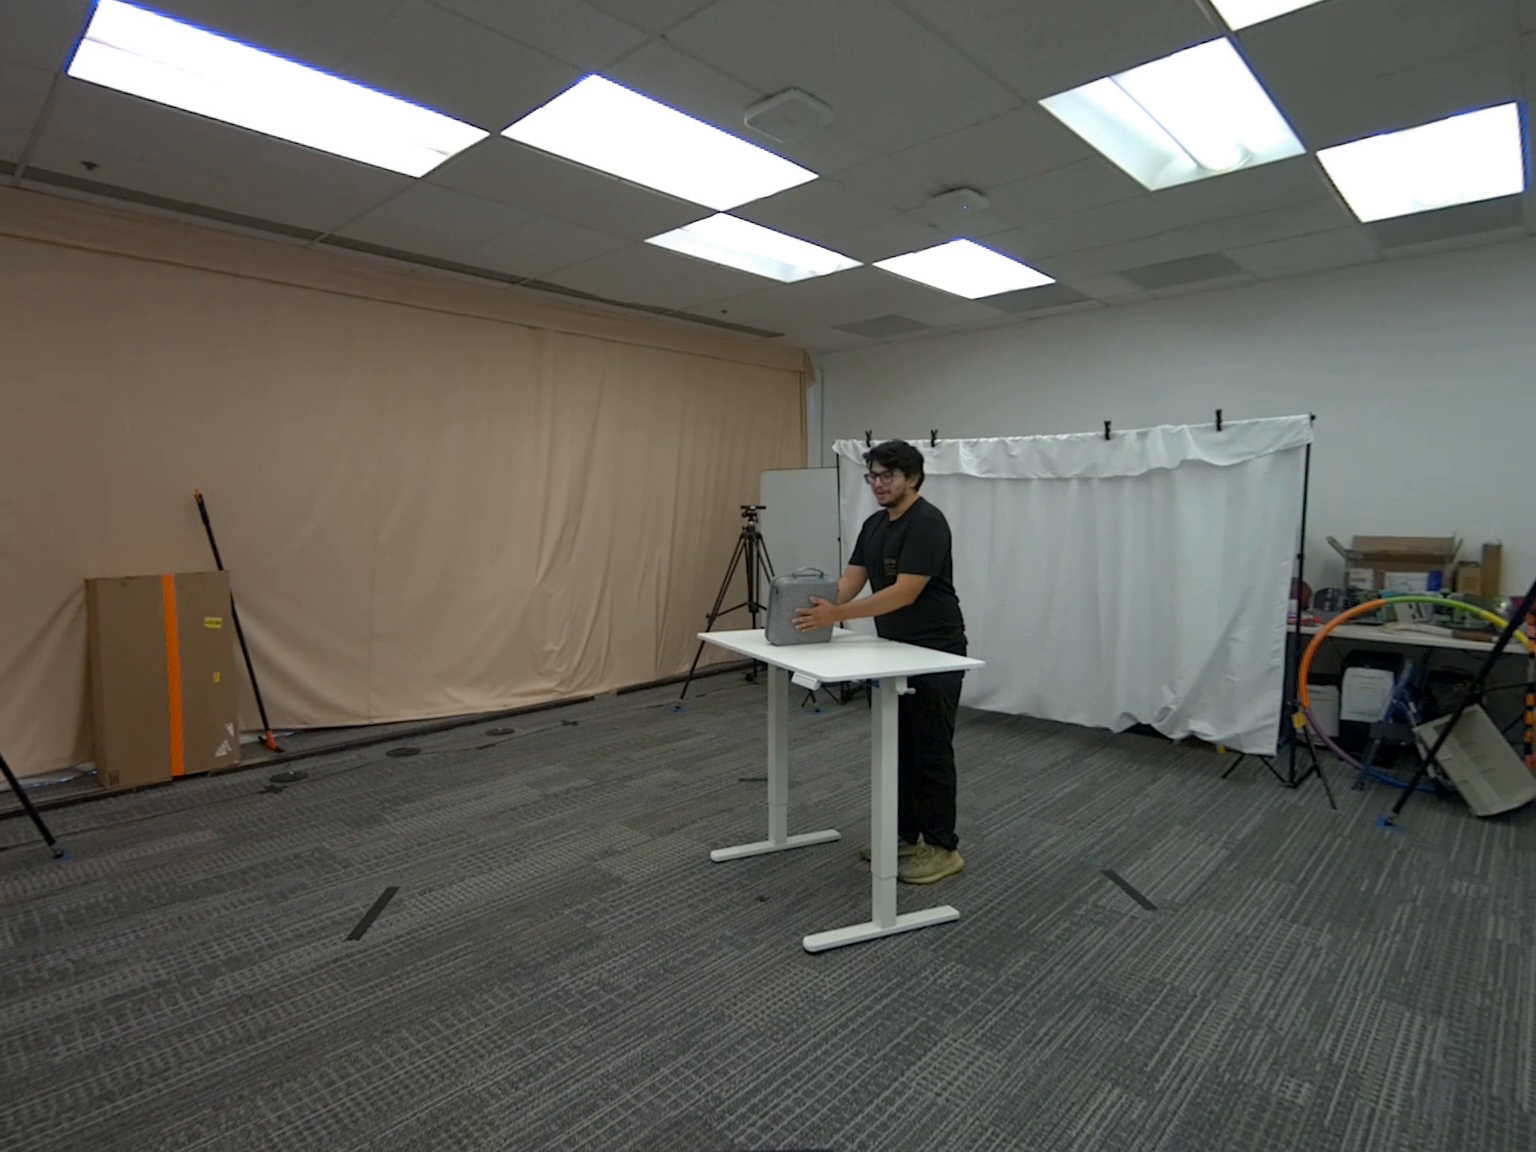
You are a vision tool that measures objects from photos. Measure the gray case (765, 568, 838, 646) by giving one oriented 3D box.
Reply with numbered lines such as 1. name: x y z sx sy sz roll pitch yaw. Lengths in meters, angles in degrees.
1. gray case: 0.130 0.123 3.101 0.251 0.259 0.107 -1 15 -23
